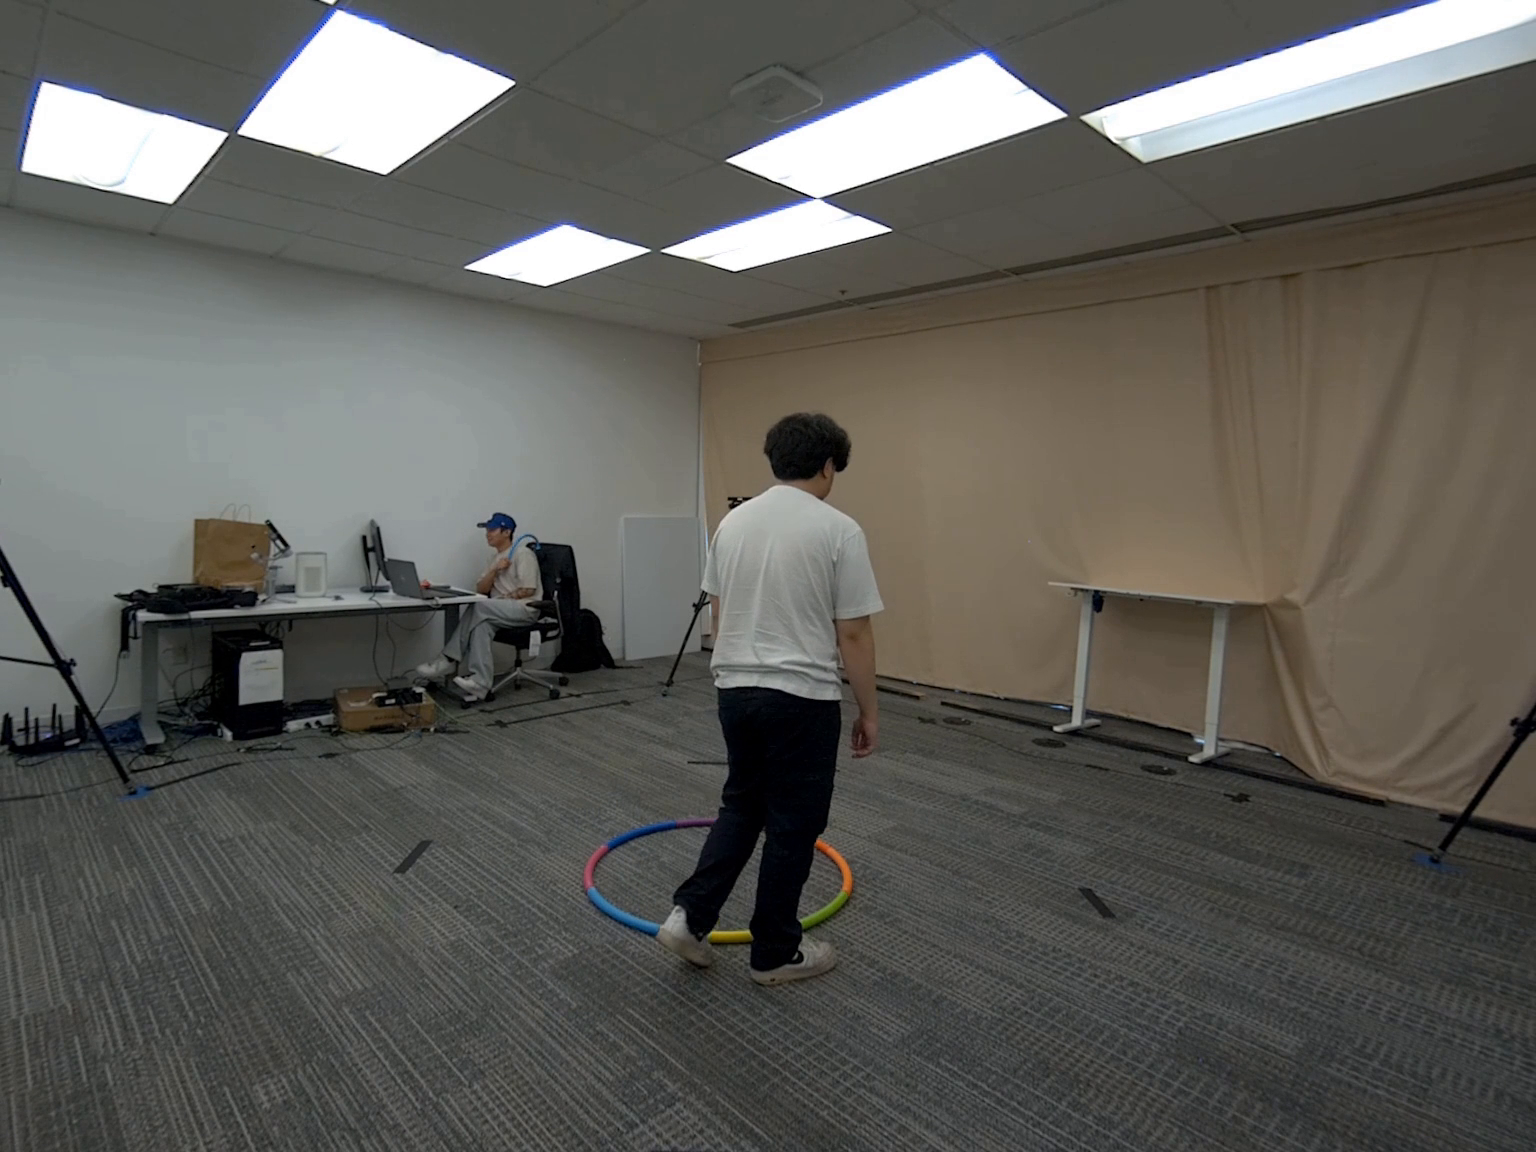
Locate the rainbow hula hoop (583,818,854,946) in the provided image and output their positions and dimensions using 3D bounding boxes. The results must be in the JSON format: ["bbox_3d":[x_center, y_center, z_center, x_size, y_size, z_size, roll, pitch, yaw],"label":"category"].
[{"bbox_3d":[-0.192,1.084,3.108,0.985,0.051,0.989,2,5,-1],"label":"rainbow hula hoop"}]
